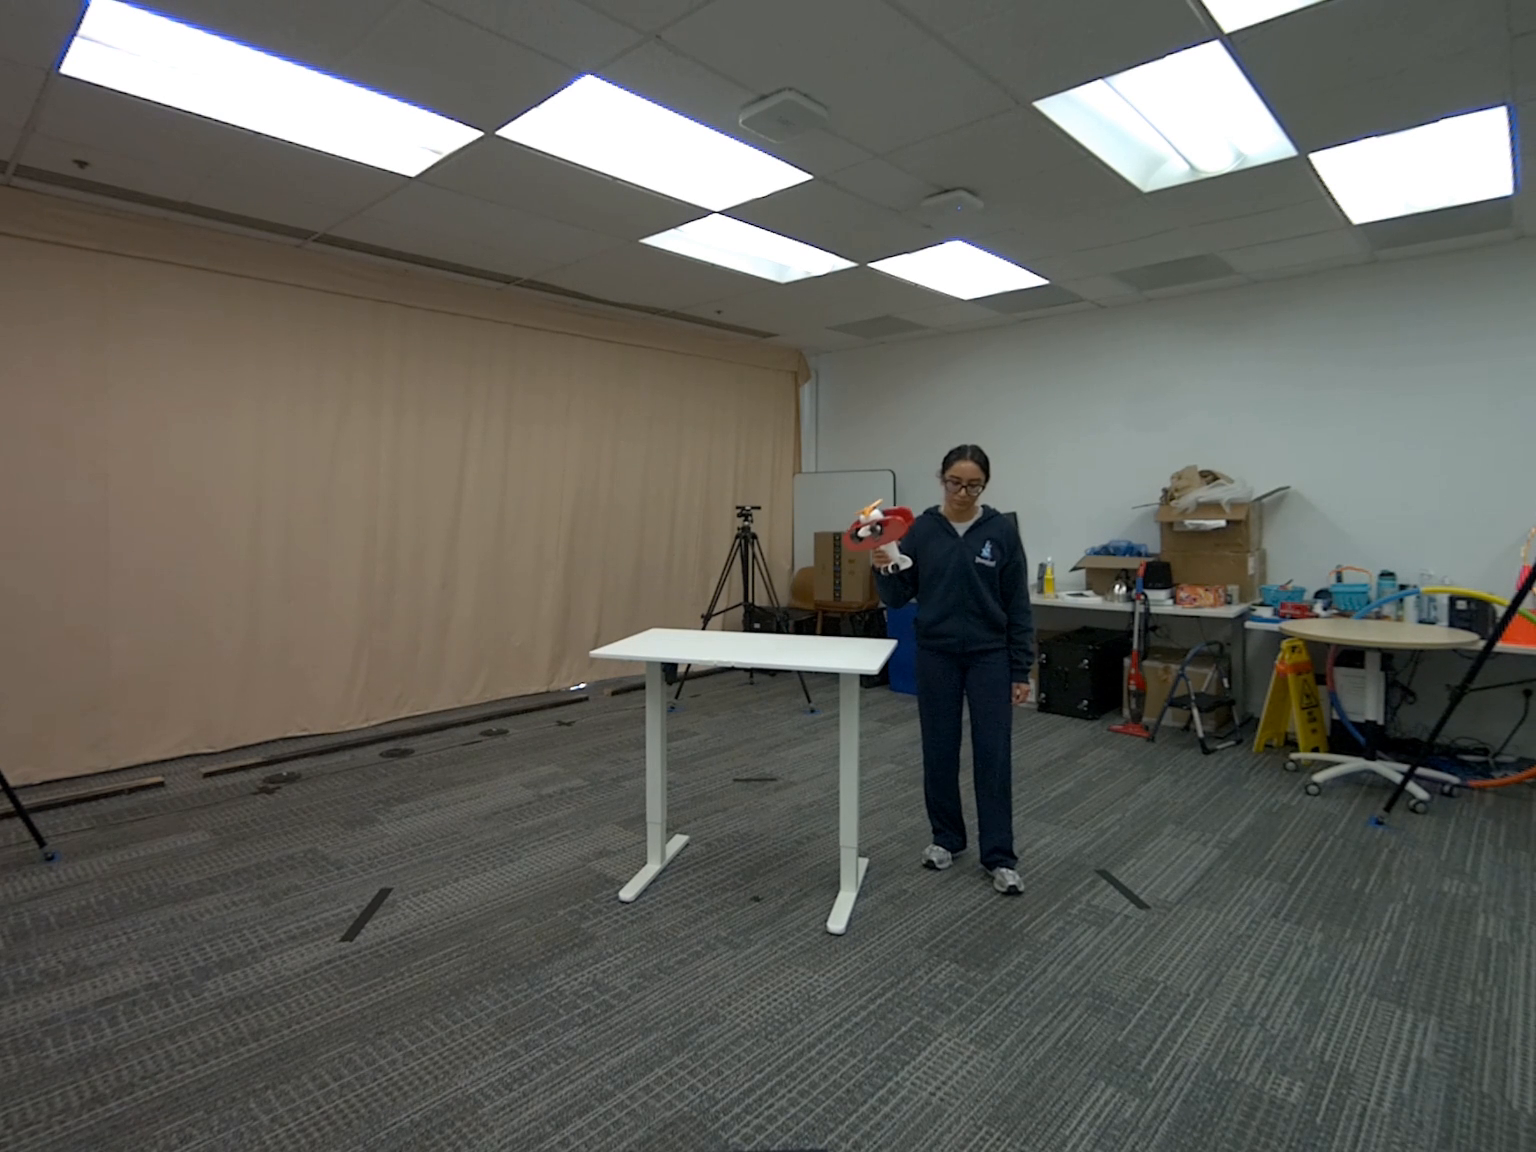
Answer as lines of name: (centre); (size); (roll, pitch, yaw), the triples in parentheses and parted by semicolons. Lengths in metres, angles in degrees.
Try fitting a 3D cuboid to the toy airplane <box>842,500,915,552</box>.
toy airplane: (0.404, -0.127, 3.011); (0.257, 0.253, 0.157); (5, 43, 21)
